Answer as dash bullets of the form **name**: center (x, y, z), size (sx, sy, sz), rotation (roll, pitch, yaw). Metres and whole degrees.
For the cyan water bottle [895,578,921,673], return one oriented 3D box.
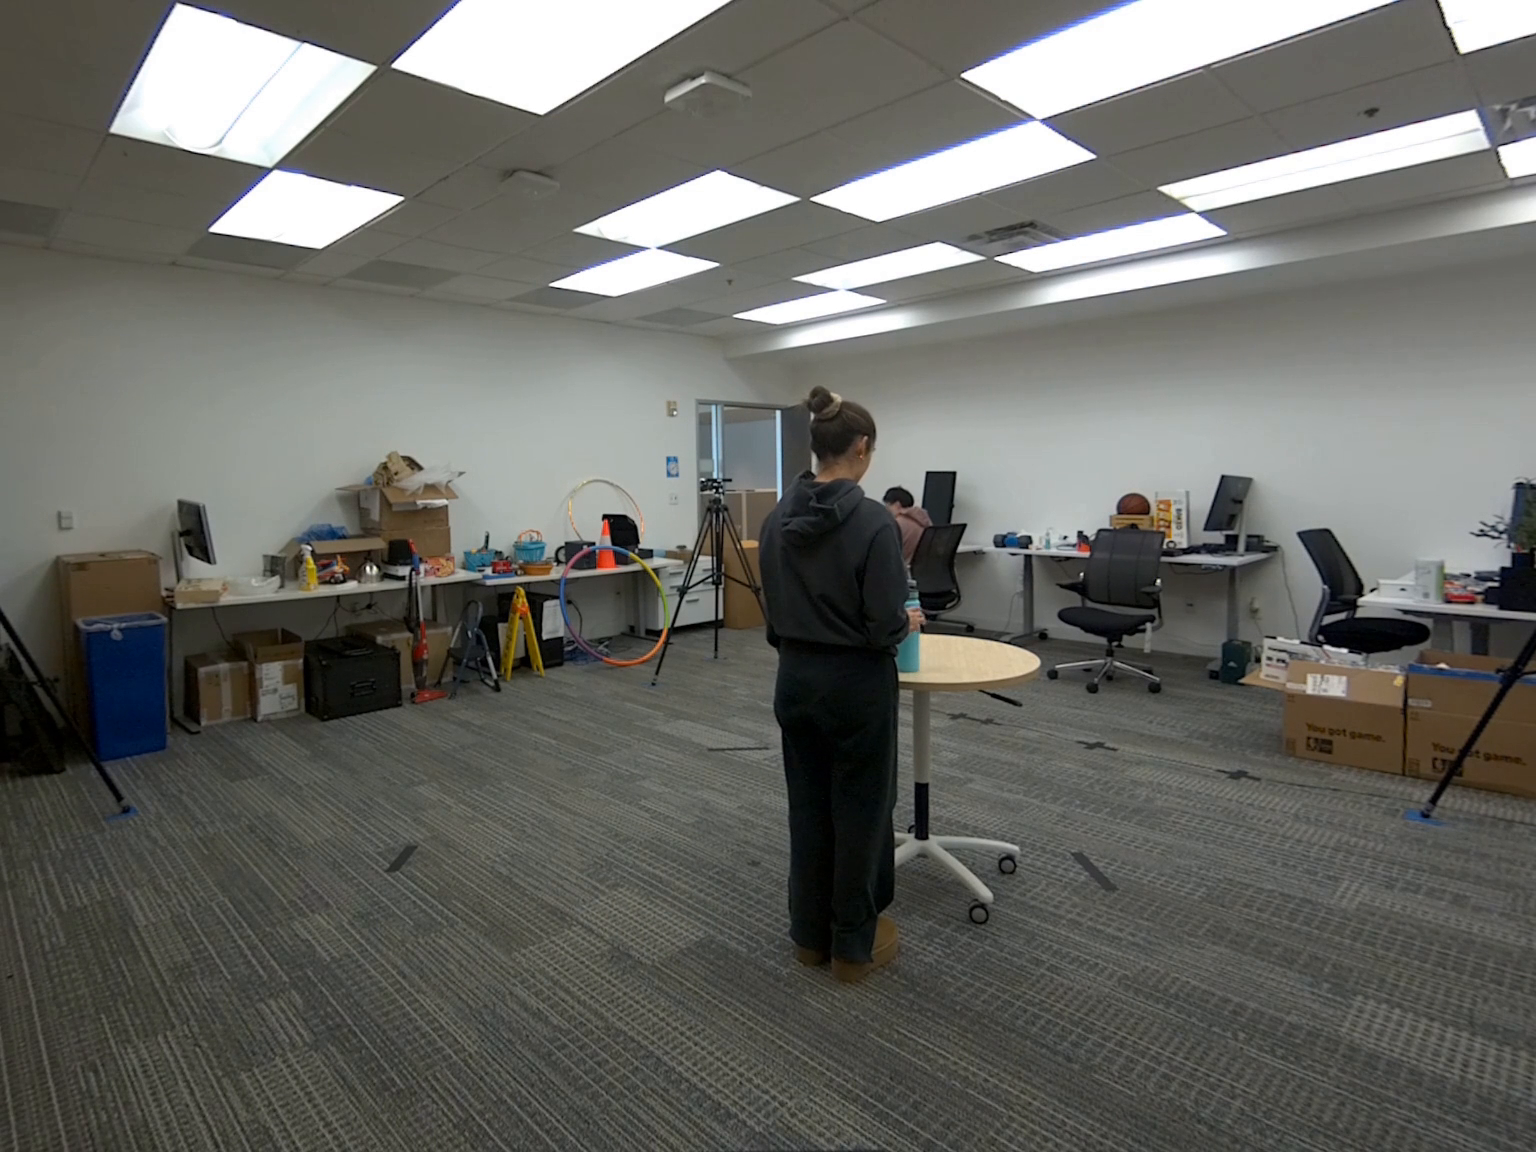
- **cyan water bottle**: center (0.440, 0.163, 2.704), size (0.092, 0.283, 0.092), rotation (-1, 2, -2)
